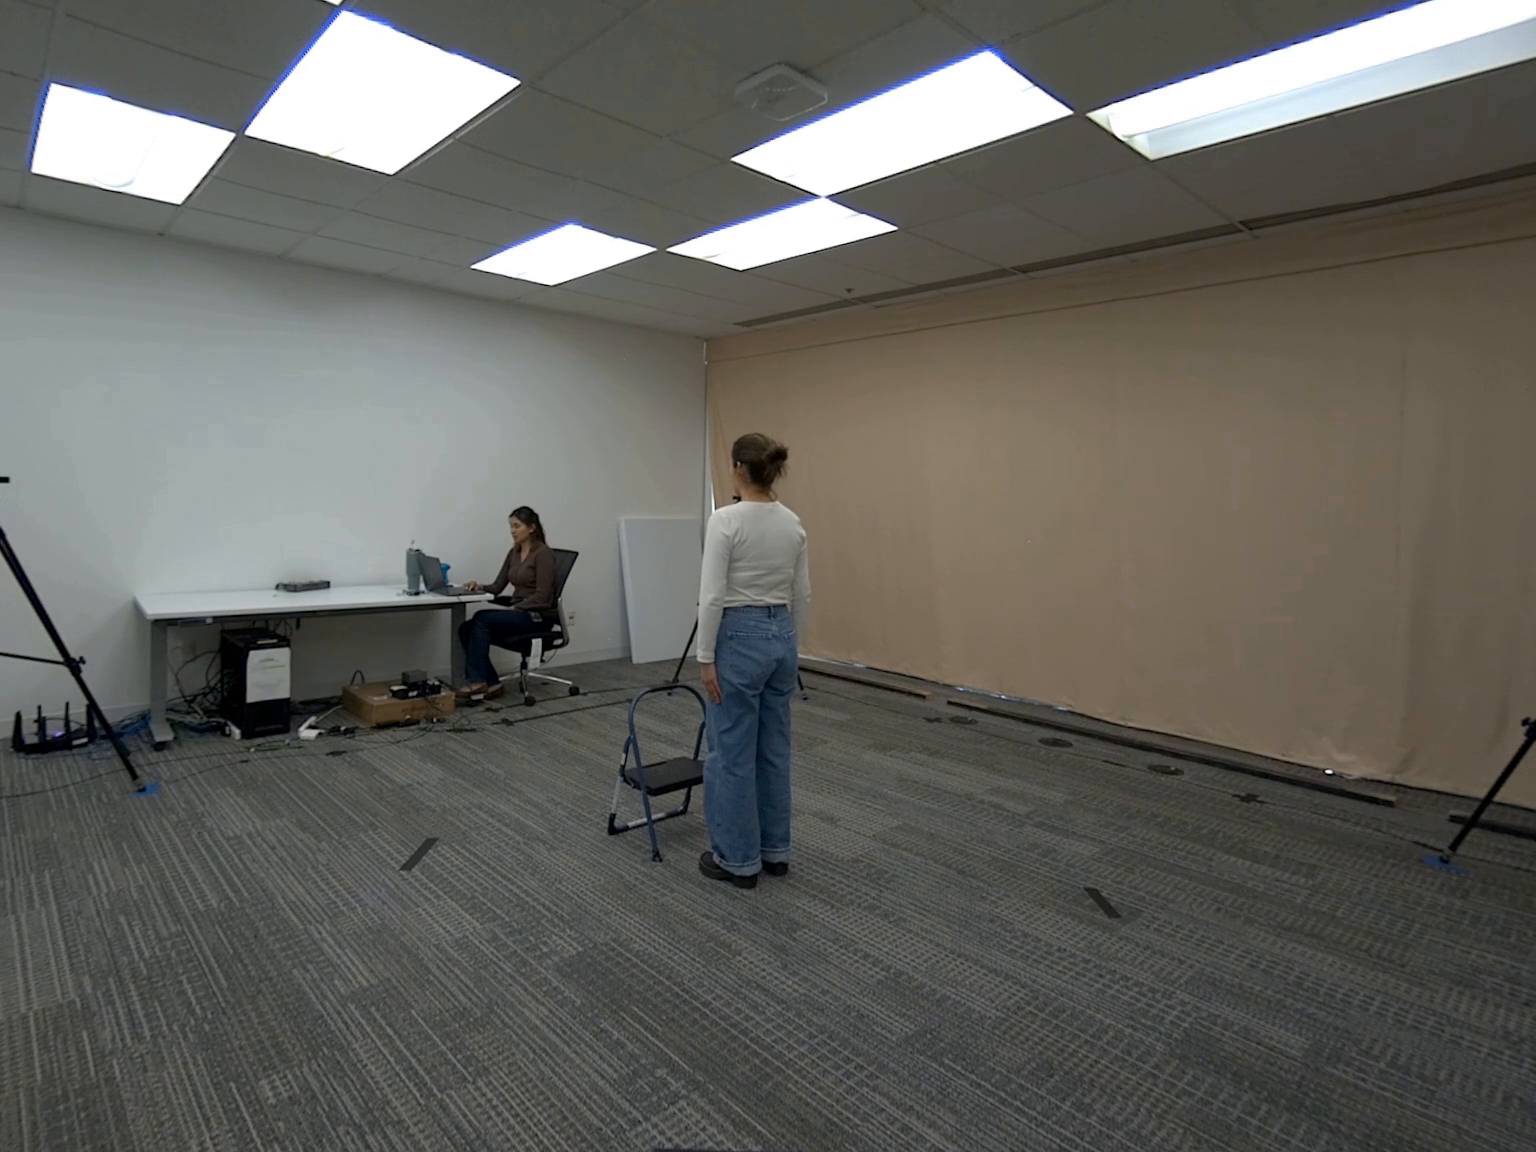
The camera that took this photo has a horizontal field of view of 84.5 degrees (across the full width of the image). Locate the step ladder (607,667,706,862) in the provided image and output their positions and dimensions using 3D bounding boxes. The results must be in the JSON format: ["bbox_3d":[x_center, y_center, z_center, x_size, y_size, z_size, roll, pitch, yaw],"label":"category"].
[{"bbox_3d":[-0.389,0.762,3.447,0.420,0.604,0.358,-2,5,-45],"label":"step ladder"}]
